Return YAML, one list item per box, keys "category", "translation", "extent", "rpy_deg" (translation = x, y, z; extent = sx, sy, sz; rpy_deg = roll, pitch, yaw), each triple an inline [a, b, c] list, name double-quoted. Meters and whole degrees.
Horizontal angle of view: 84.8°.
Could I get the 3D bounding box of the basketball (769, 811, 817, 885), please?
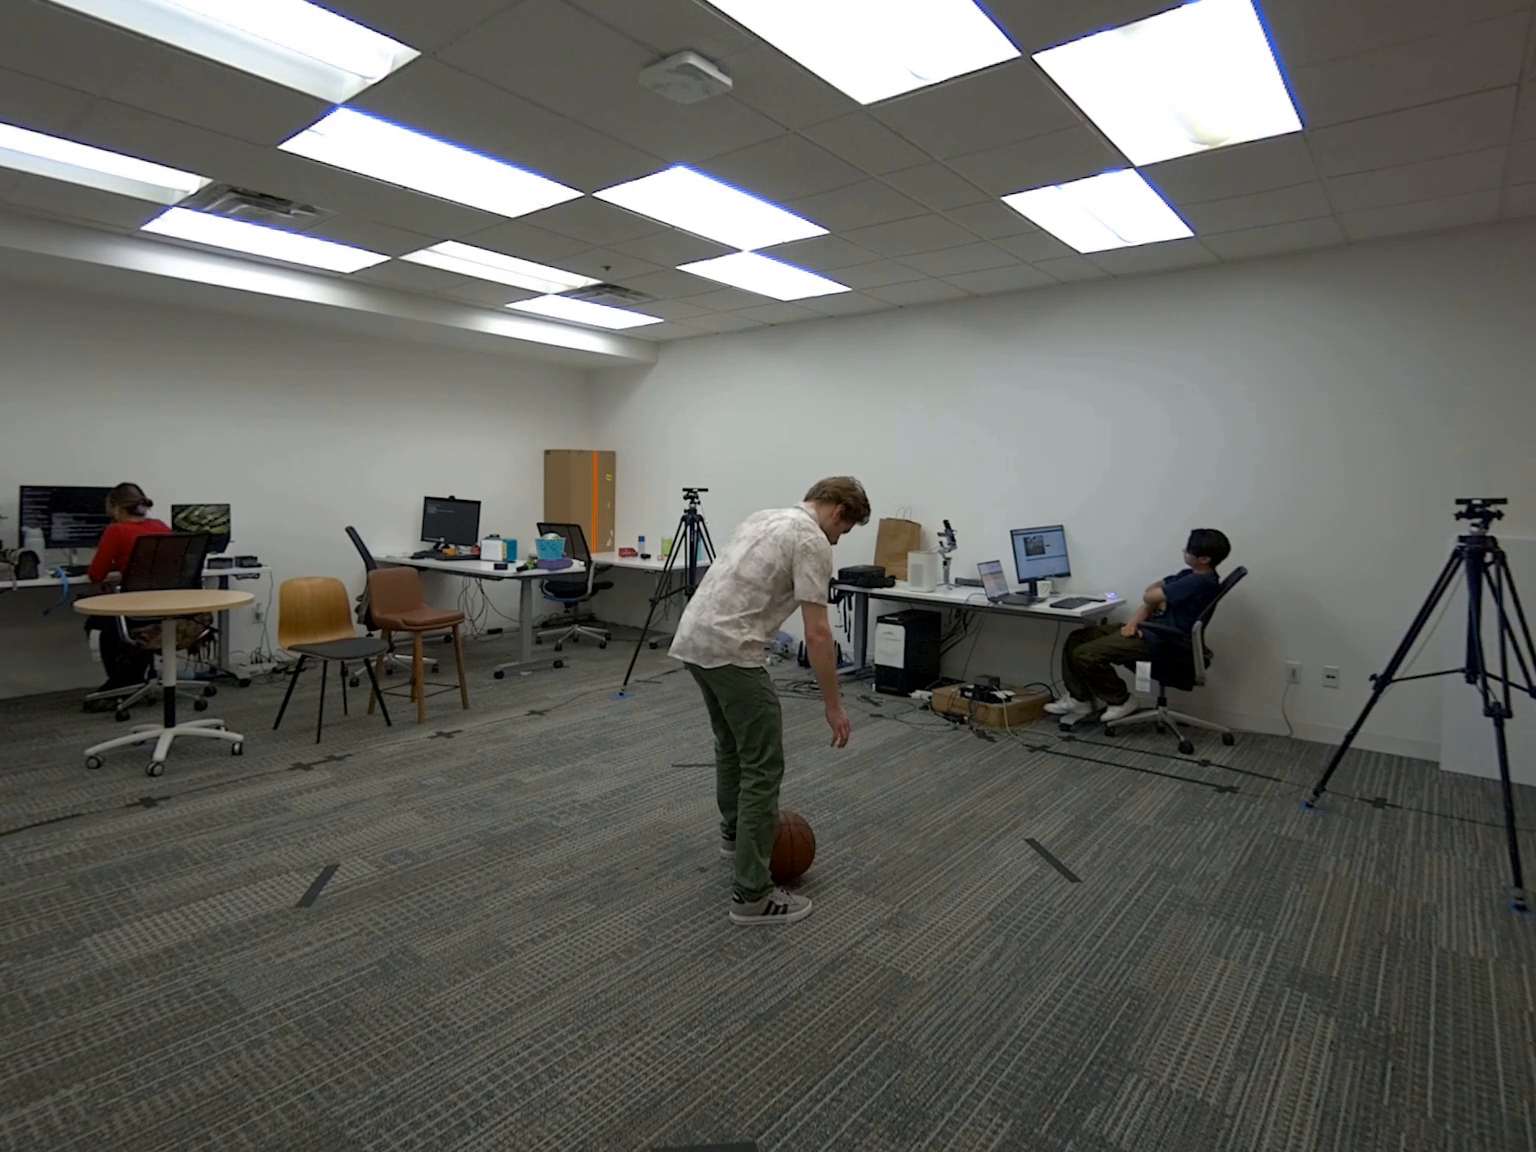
- category: "basketball"
  translation: [0.042, 0.954, 3.052]
  extent: [0.235, 0.235, 0.237]
  rpy_deg: [1, 4, -2]
